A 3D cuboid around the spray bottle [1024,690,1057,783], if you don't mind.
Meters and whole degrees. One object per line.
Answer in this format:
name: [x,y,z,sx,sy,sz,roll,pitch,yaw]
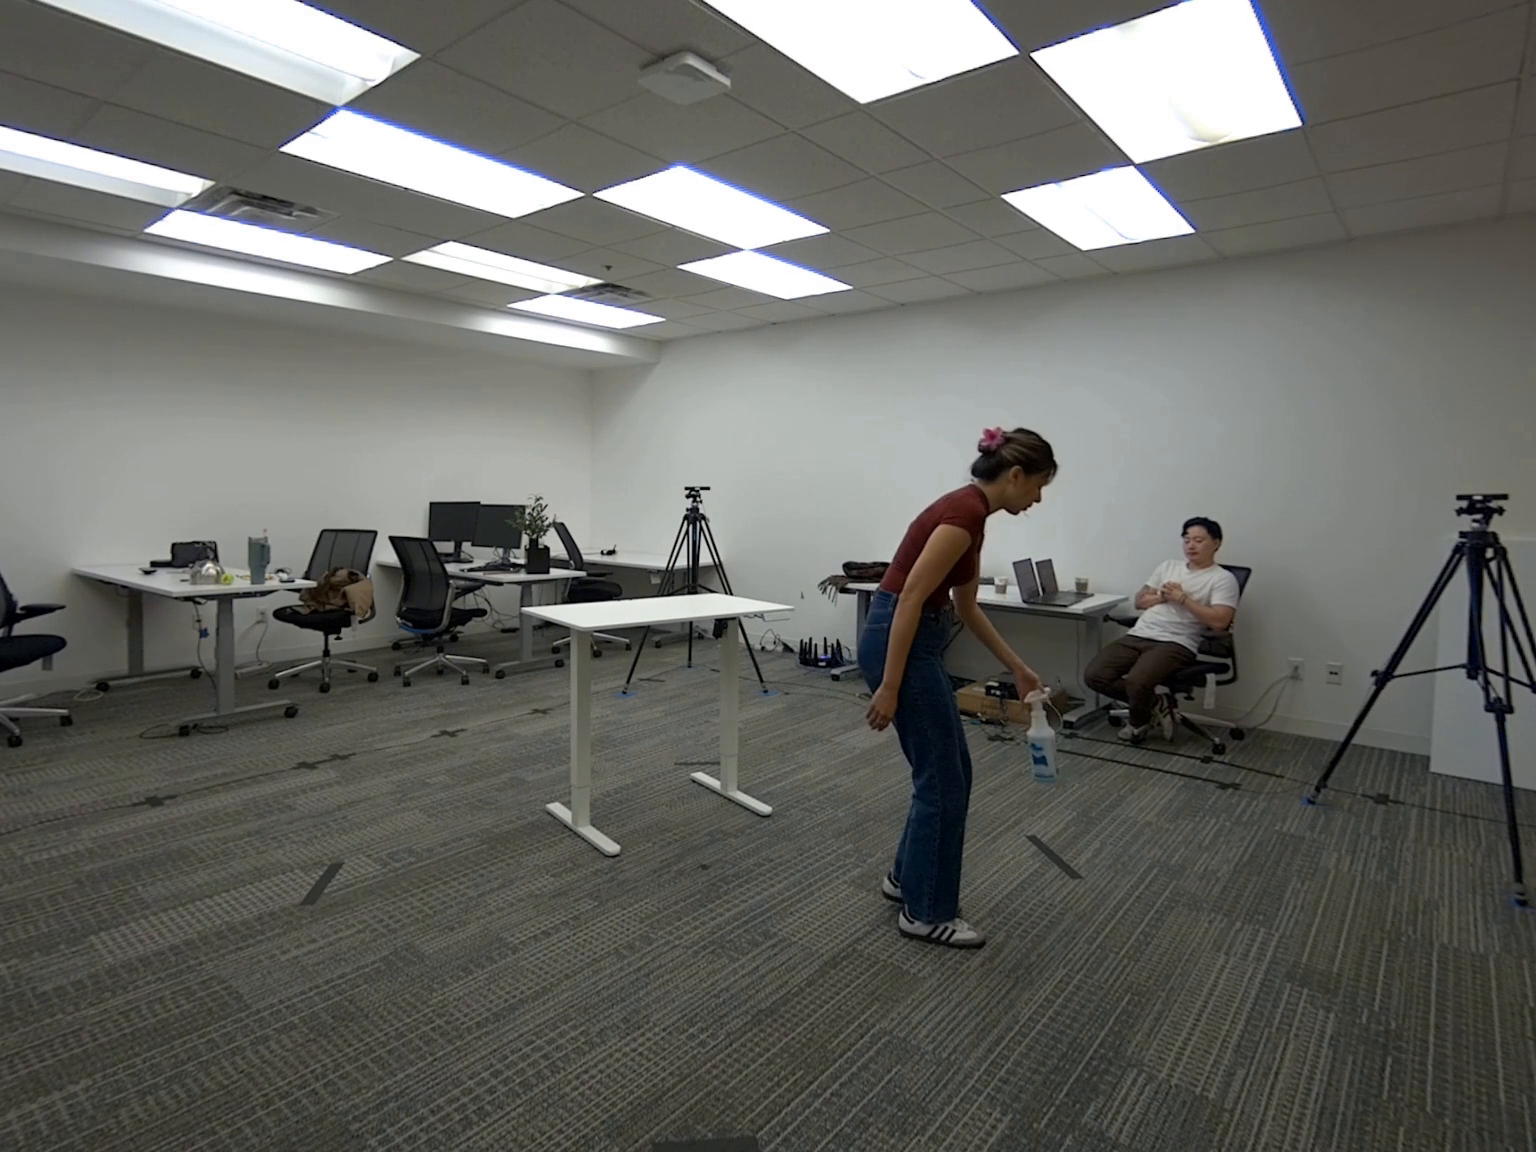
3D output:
spray bottle: [0.892,0.526,2.787,0.091,0.296,0.086,-7,3,16]
